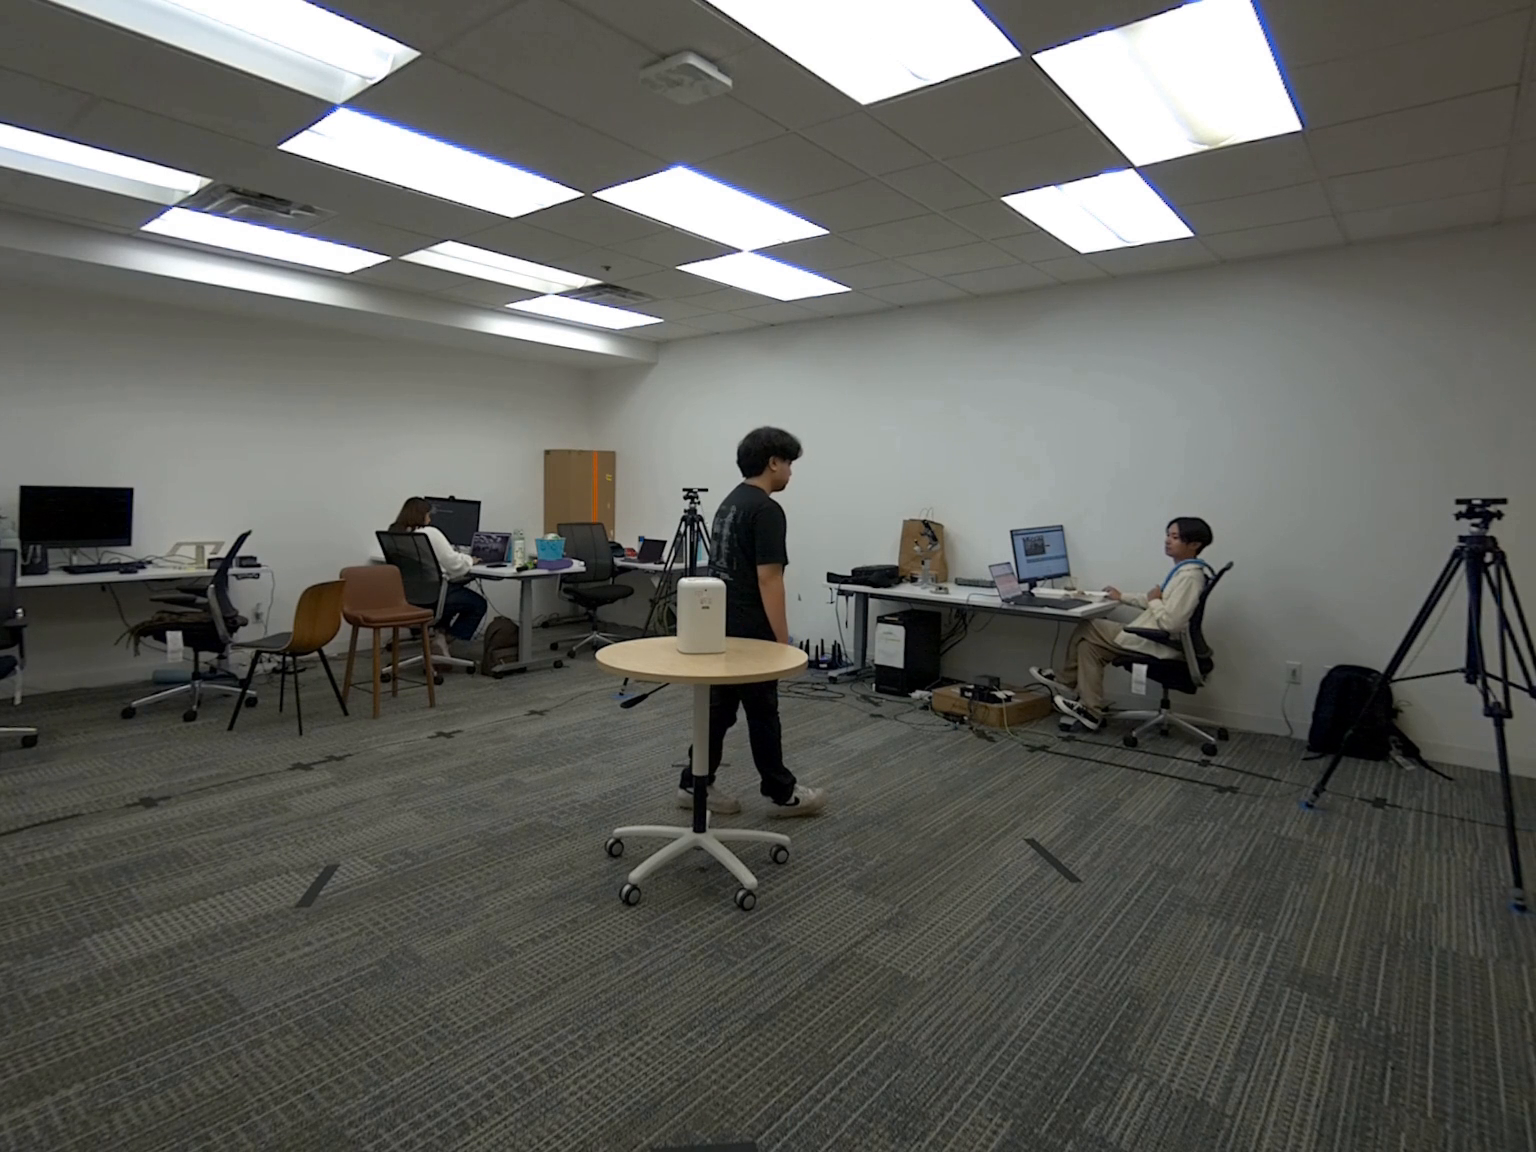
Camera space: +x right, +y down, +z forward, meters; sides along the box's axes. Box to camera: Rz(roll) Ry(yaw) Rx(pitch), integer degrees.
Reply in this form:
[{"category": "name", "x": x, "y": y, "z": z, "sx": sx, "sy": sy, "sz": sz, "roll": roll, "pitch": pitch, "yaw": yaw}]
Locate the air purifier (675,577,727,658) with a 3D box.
[{"category": "air purifier", "x": -0.258, "y": 0.140, "z": 3.141, "sx": 0.169, "sy": 0.265, "sz": 0.174, "roll": 0, "pitch": 3, "yaw": -11}]
